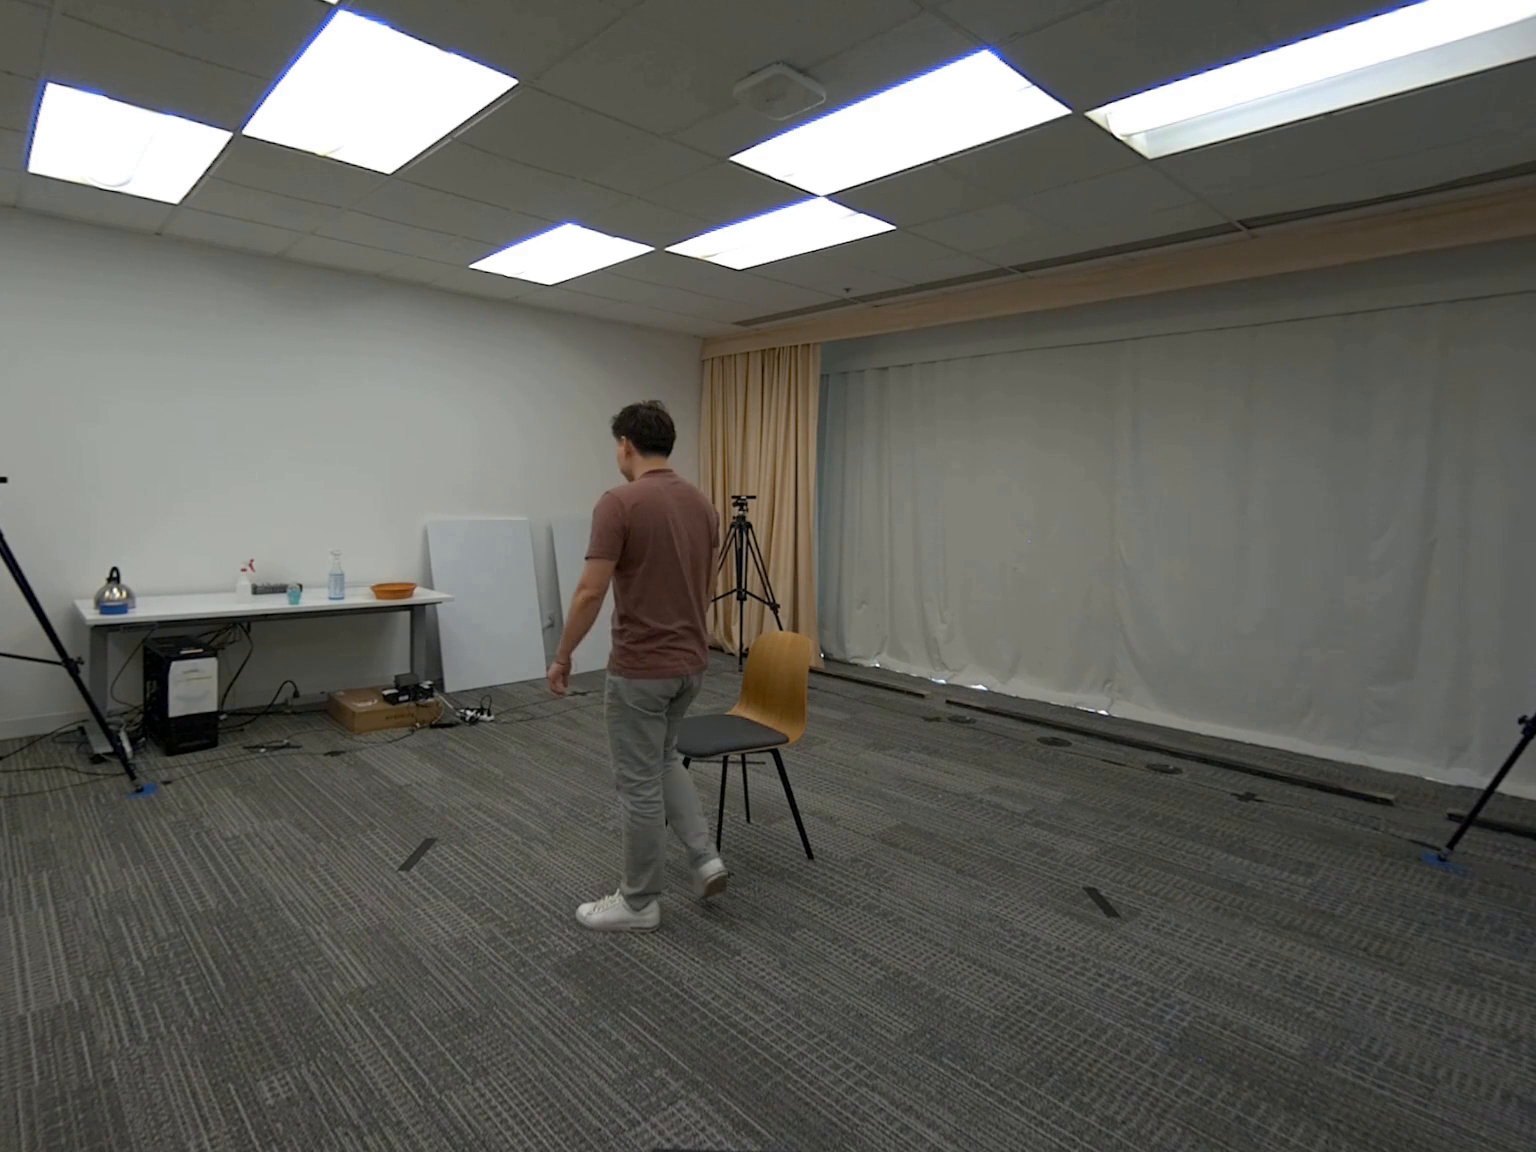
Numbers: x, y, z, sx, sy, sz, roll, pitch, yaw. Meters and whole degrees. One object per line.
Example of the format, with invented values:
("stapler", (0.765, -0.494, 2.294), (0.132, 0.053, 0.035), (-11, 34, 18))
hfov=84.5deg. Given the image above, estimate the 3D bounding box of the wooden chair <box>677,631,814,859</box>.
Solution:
("wooden chair", (-0.137, 0.658, 3.281), (0.511, 0.877, 0.489), (4, 1, -35))
